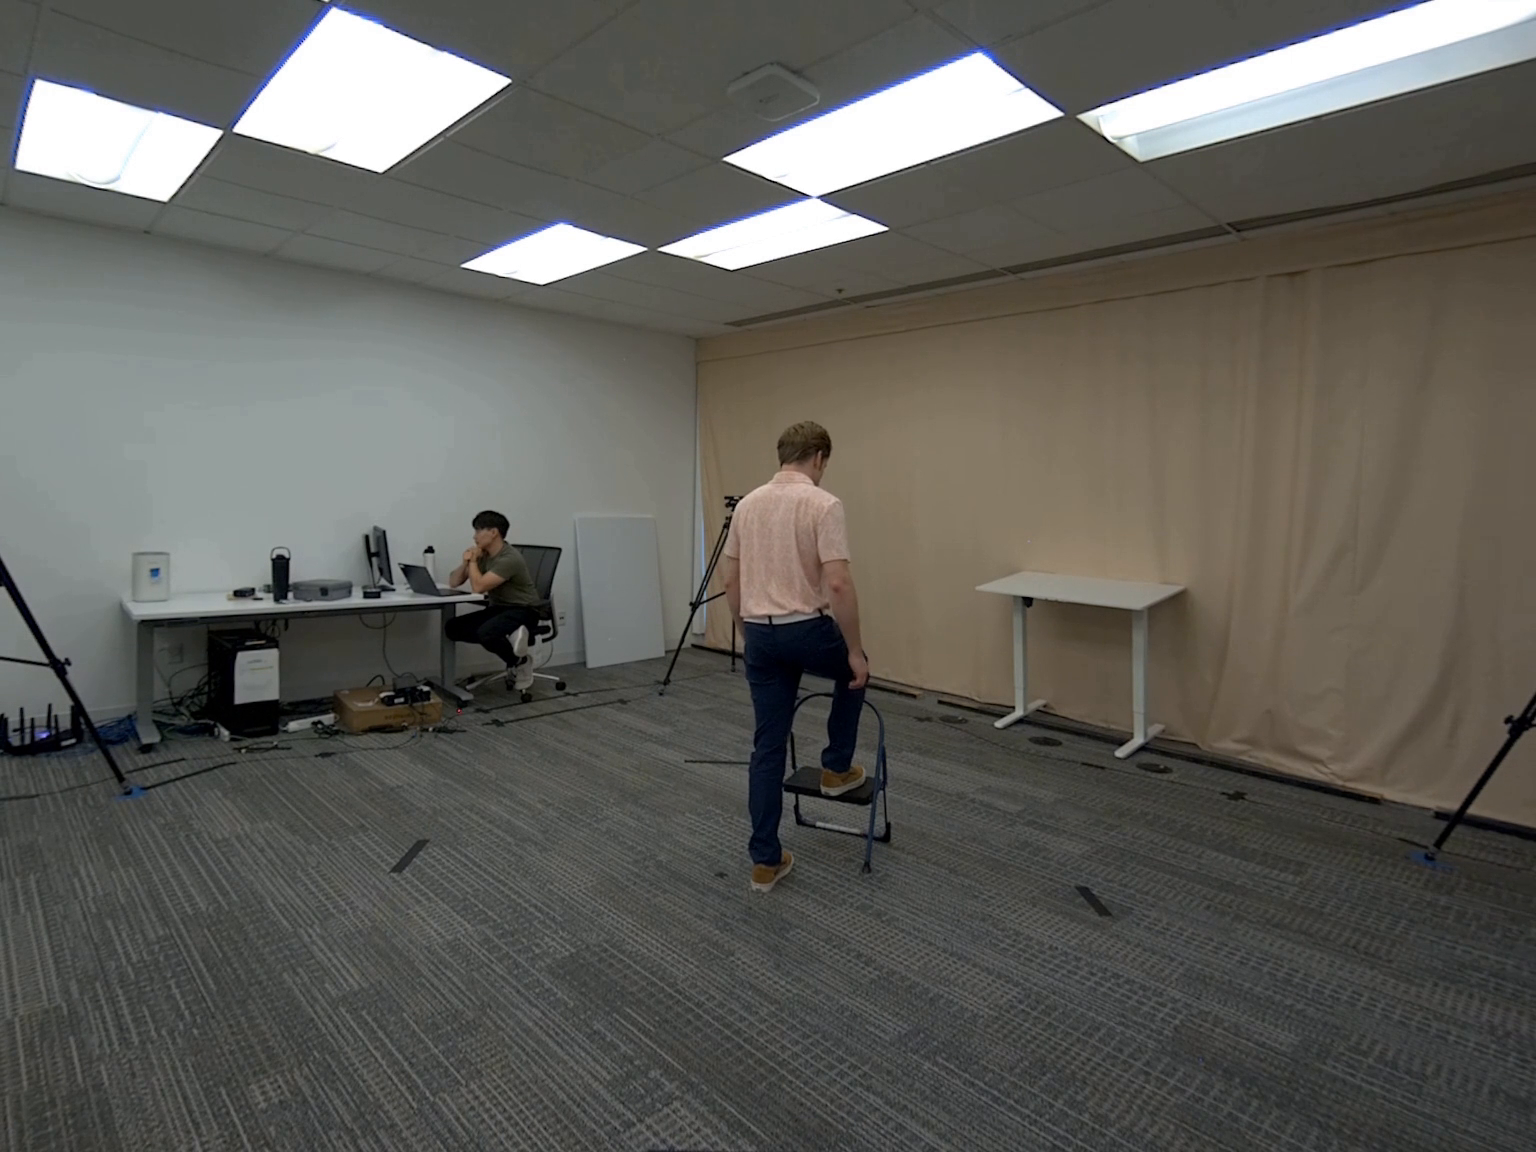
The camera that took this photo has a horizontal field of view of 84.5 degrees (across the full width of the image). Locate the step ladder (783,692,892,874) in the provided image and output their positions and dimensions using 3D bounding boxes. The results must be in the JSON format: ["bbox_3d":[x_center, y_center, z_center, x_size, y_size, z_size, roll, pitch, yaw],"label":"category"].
[{"bbox_3d":[0.252,0.786,3.380,0.439,0.605,0.343,3,3,24],"label":"step ladder"}]
